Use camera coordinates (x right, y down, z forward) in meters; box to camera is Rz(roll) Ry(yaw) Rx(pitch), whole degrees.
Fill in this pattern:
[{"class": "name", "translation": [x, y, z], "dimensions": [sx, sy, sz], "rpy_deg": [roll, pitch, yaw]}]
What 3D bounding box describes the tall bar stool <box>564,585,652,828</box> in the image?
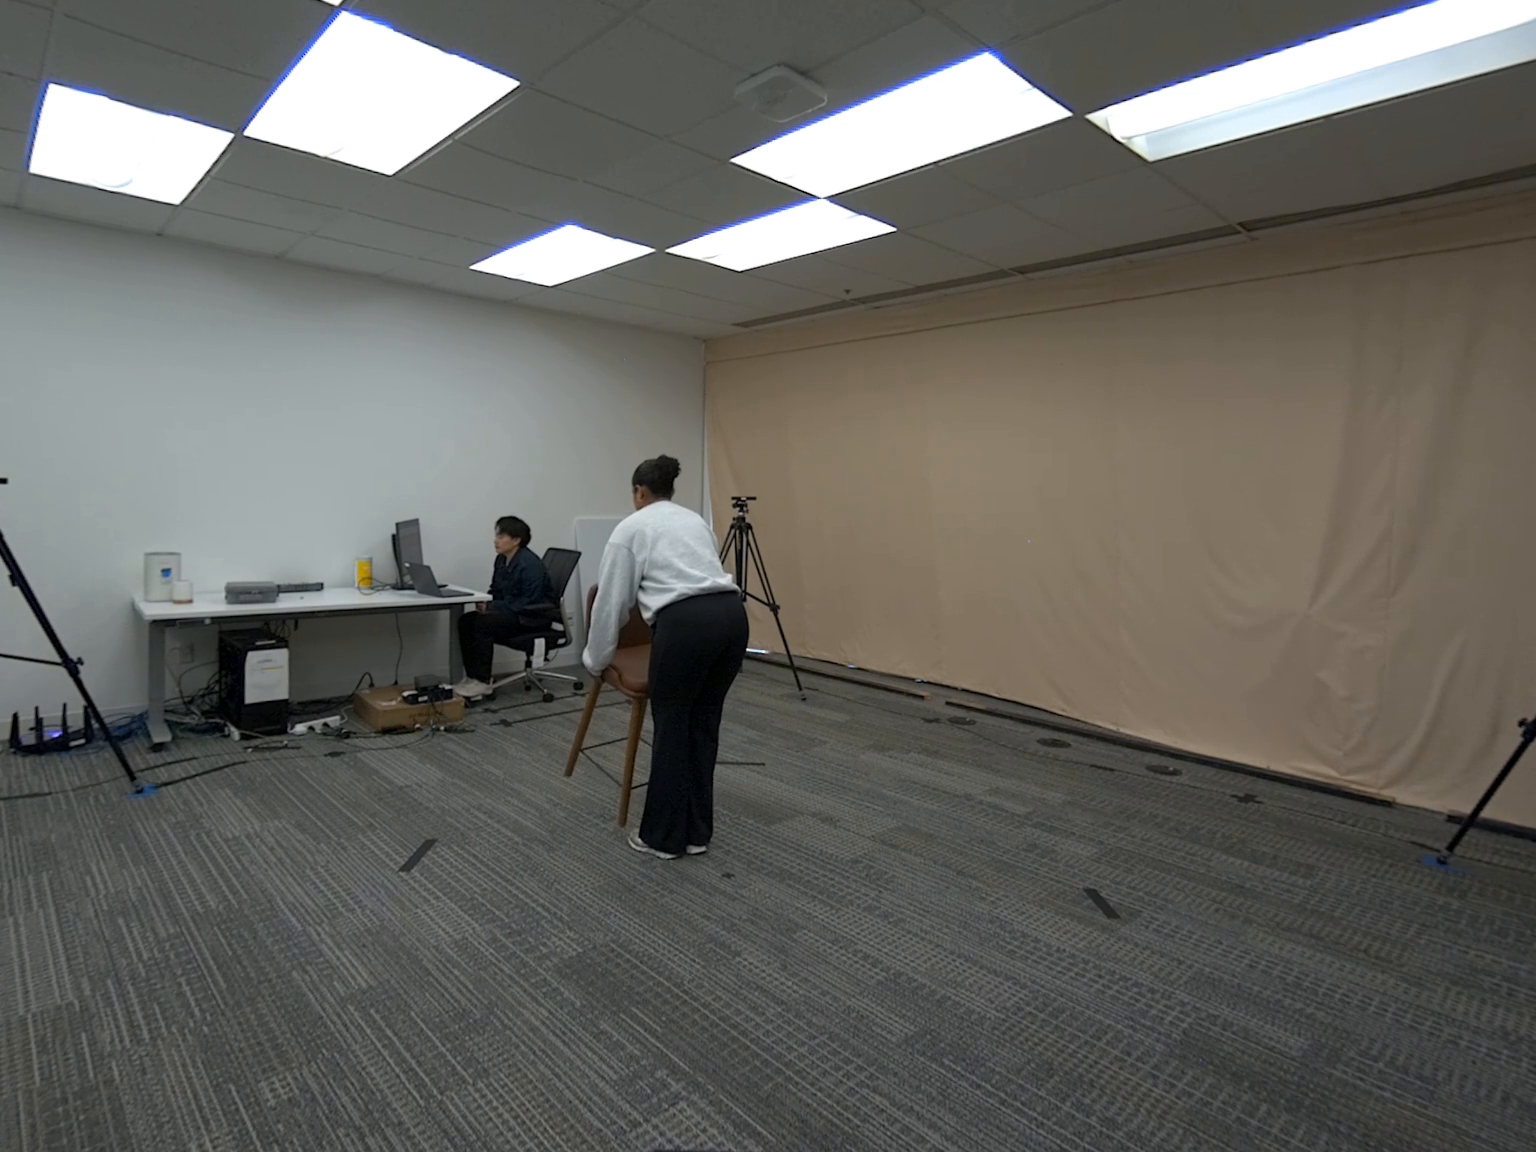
[{"class": "tall bar stool", "translation": [-0.539, 0.512, 3.551], "dimensions": [0.446, 0.883, 0.482], "rpy_deg": [-2, 17, -45]}]
